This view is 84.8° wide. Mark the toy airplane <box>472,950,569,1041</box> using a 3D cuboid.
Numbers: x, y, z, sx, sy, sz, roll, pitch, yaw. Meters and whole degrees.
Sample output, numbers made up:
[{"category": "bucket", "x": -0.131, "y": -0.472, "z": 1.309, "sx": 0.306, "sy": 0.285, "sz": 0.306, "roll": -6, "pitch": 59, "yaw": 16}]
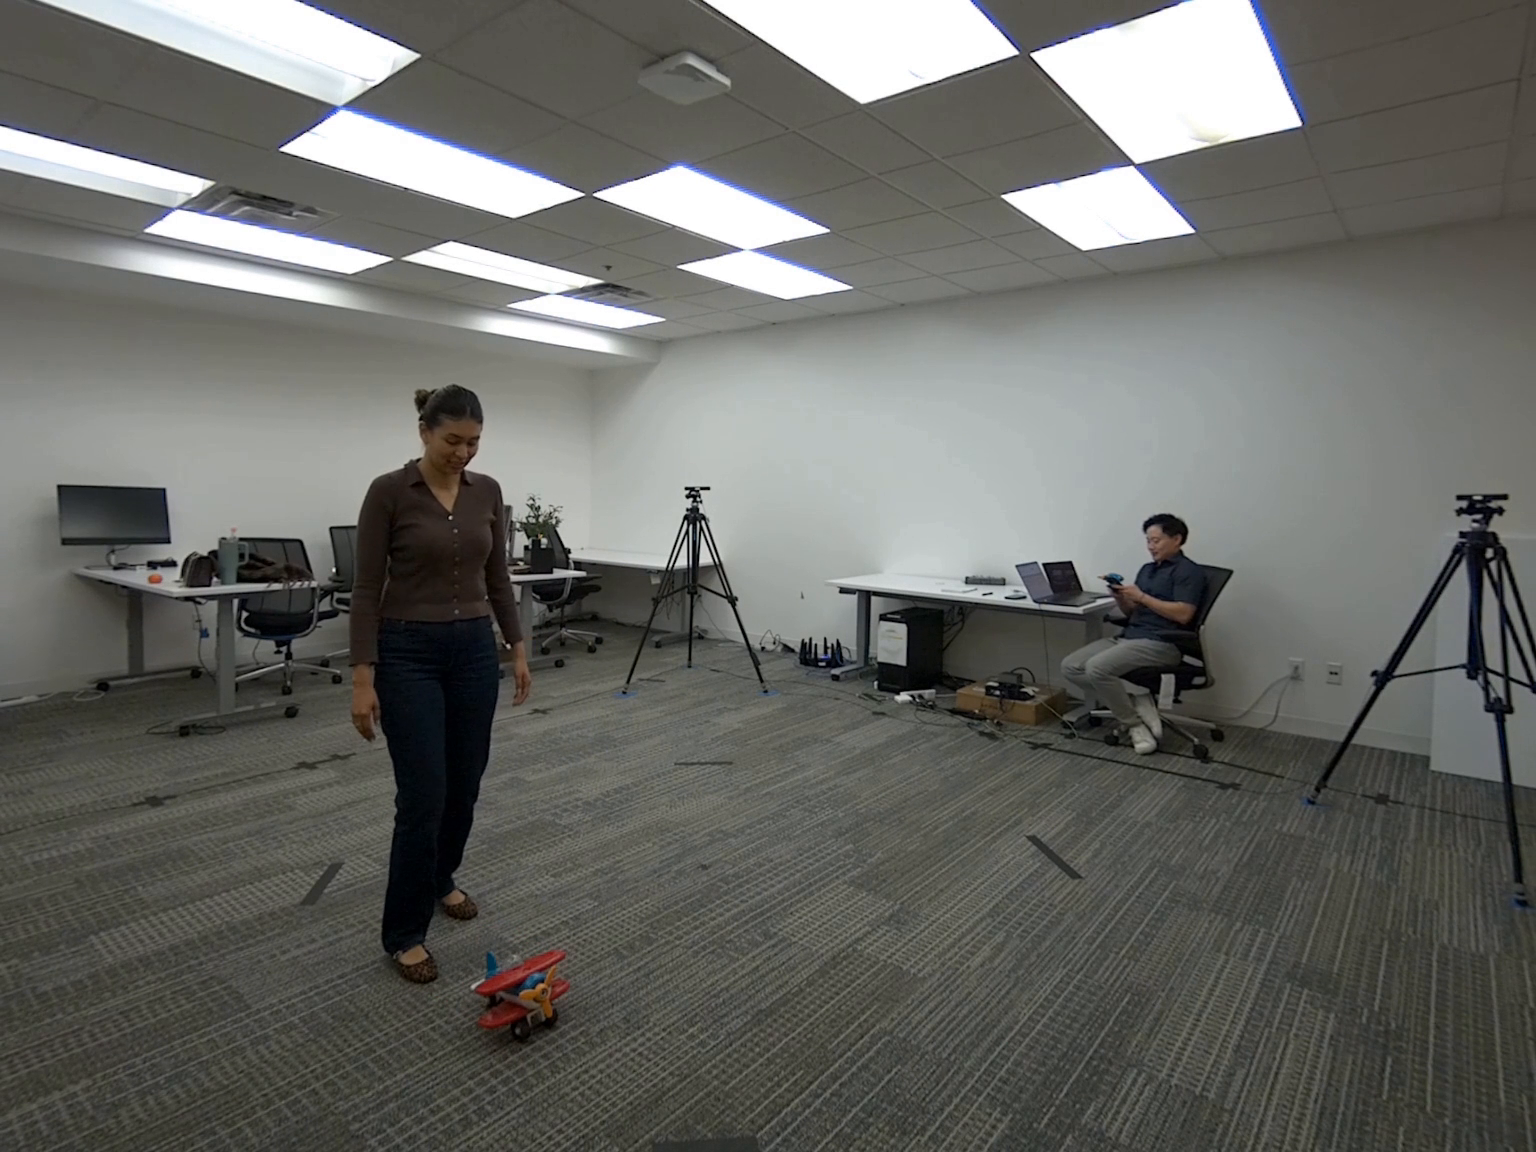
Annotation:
[{"category": "toy airplane", "x": -0.675, "y": 1.079, "z": 2.197, "sx": 0.263, "sy": 0.156, "sz": 0.248, "roll": 3, "pitch": 6, "yaw": 13}]
